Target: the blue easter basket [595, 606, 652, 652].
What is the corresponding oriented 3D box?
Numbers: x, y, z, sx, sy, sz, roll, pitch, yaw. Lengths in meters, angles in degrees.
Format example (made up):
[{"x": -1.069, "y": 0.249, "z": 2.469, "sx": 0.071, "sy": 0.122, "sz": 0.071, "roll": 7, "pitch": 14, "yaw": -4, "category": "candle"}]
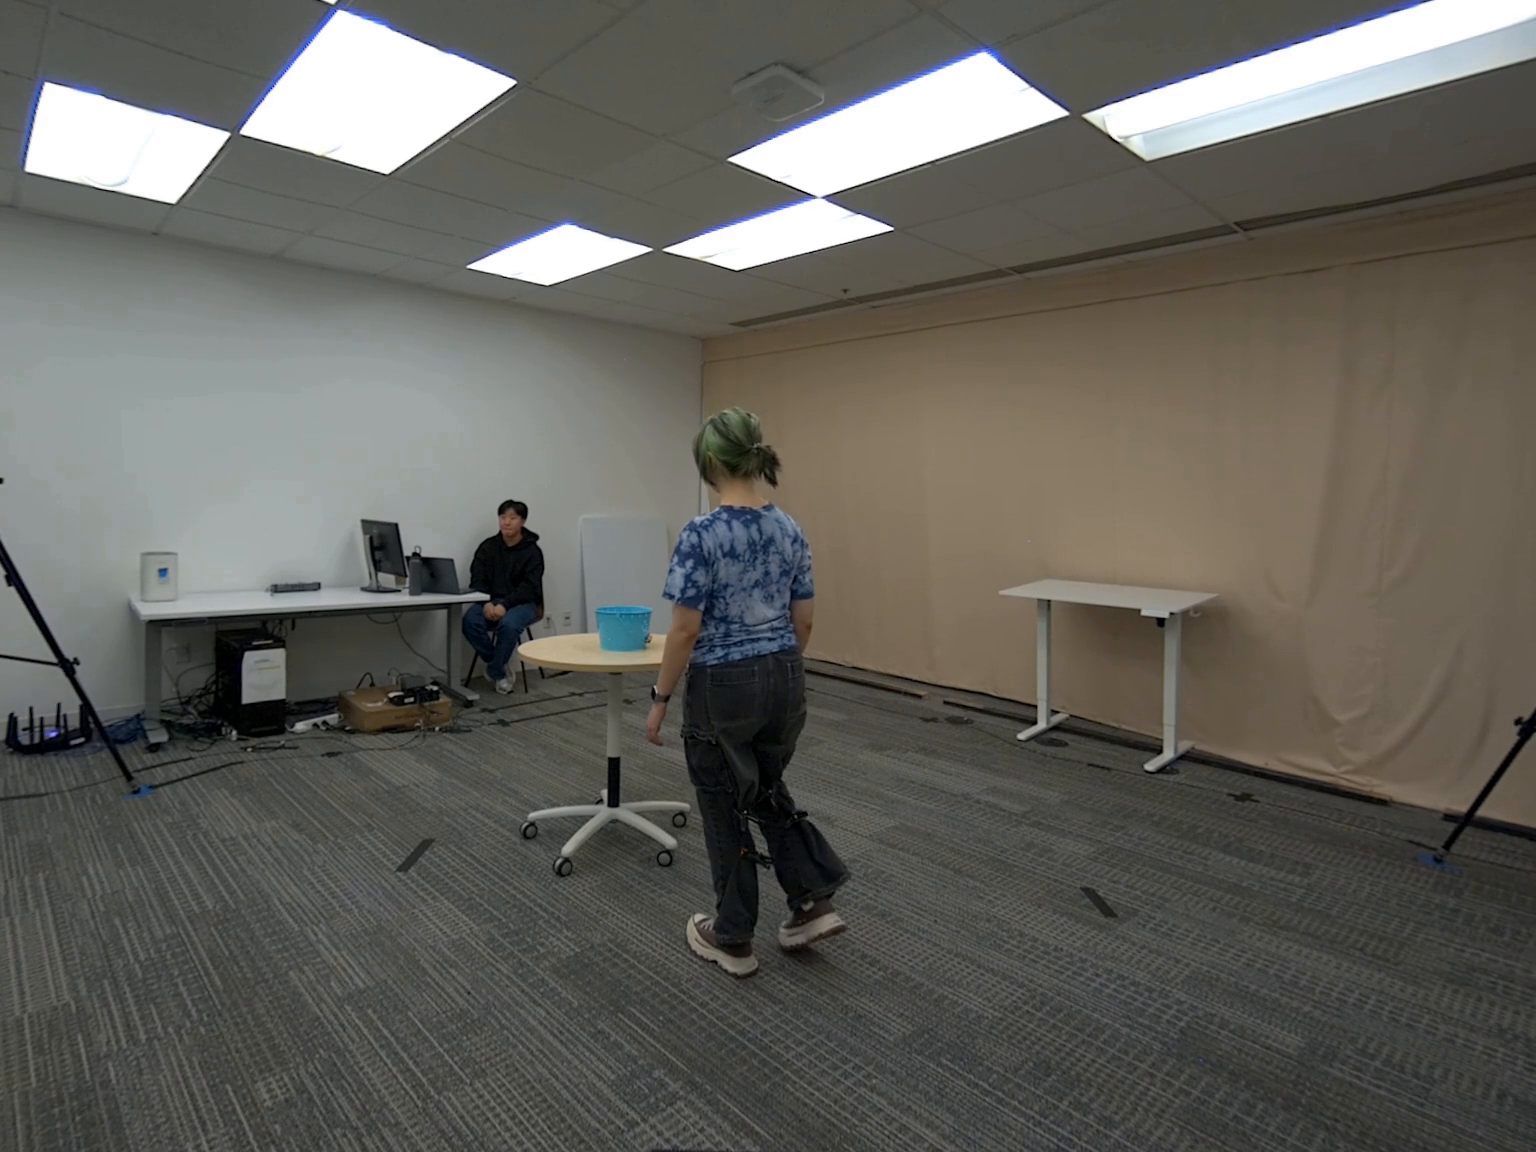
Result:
[{"x": -0.587, "y": 0.213, "z": 3.356, "sx": 0.243, "sy": 0.155, "sz": 0.244, "roll": 1, "pitch": 4, "yaw": -1, "category": "blue easter basket"}]
